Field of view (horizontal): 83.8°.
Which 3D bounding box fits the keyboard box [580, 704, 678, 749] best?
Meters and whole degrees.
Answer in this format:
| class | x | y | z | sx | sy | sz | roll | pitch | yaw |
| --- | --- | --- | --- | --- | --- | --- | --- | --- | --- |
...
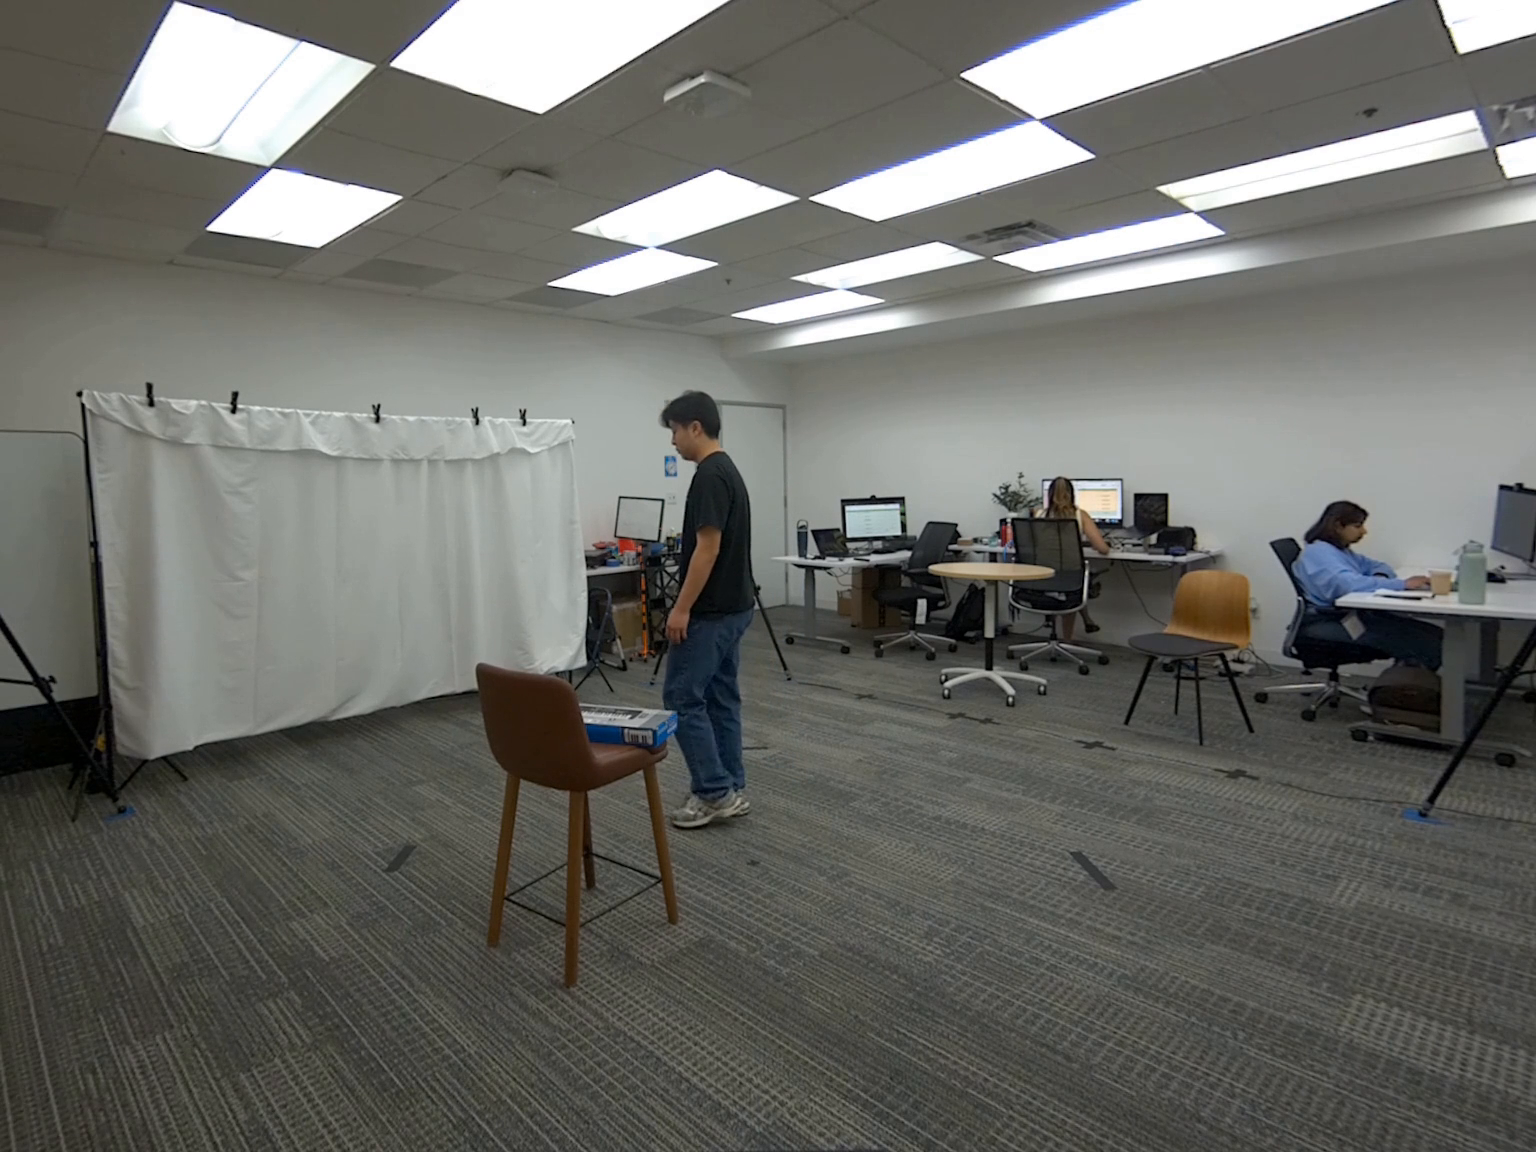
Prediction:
| class | x | y | z | sx | sy | sz | roll | pitch | yaw |
| --- | --- | --- | --- | --- | --- | --- | --- | --- | --- |
| keyboard box | -0.509 | 0.456 | 2.663 | 0.445 | 0.059 | 0.174 | 1 | 9 | 18 |
